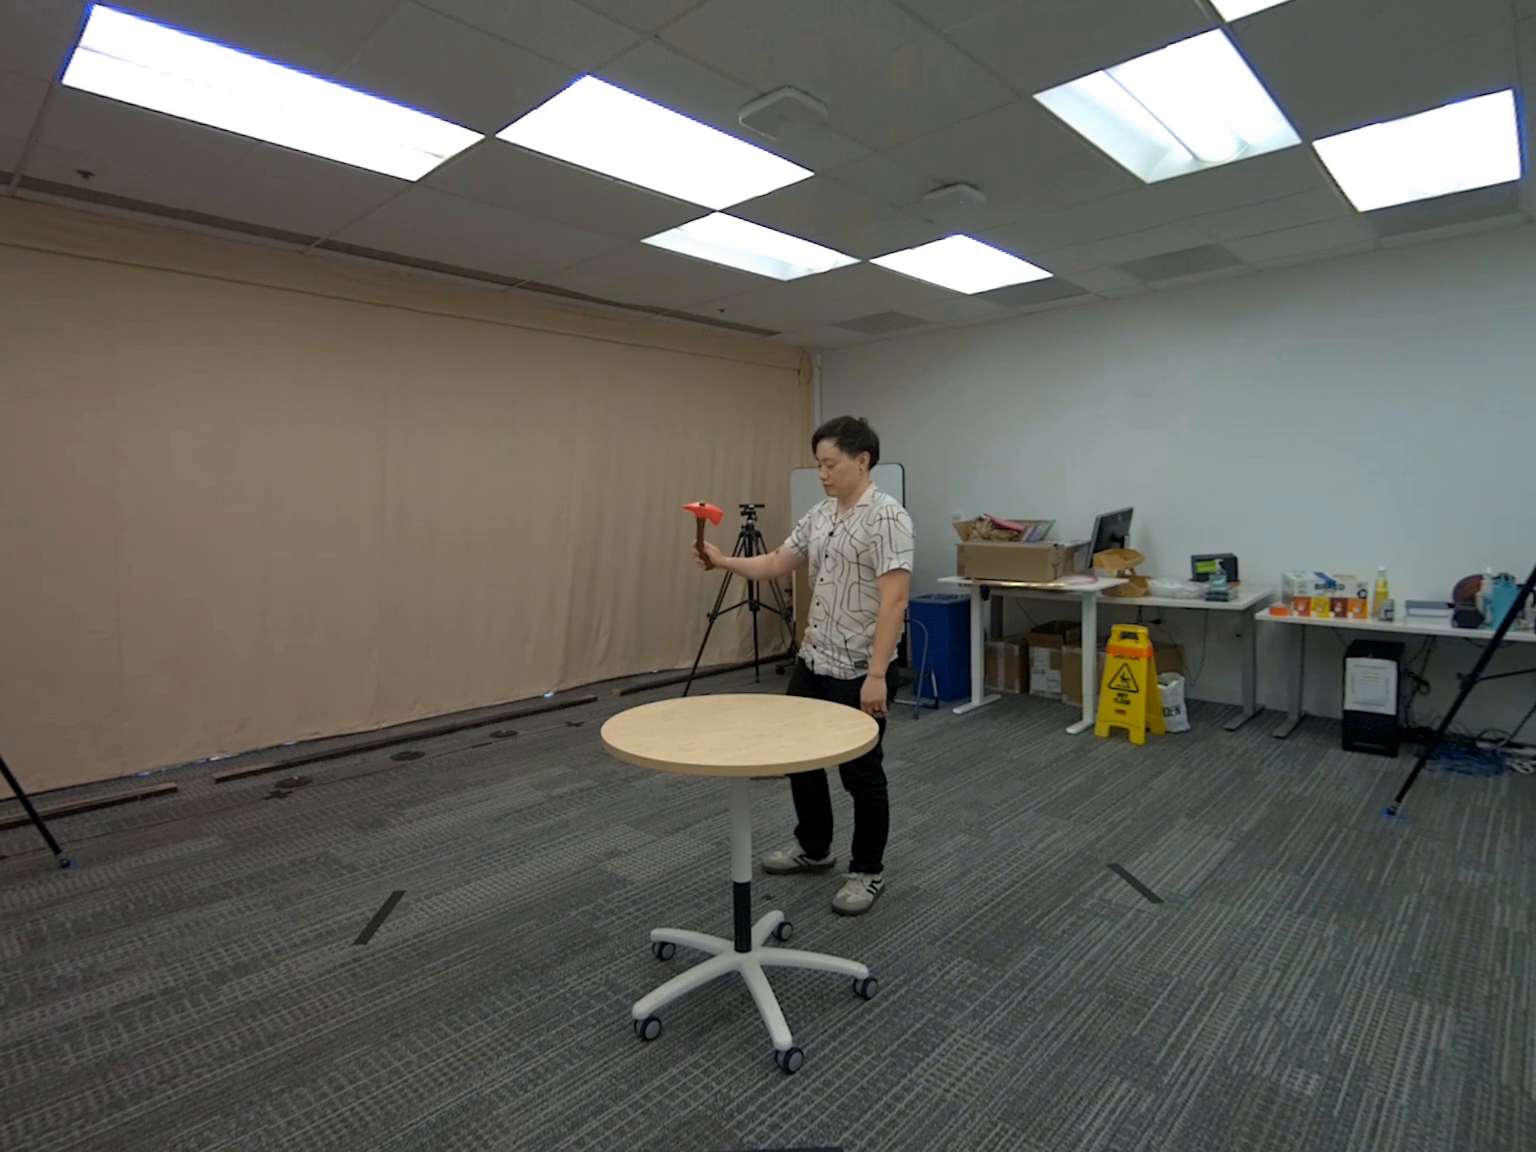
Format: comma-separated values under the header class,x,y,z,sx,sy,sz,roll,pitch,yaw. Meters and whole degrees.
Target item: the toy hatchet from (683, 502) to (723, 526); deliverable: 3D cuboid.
class,x,y,z,sx,sy,sz,roll,pitch,yaw
toy hatchet,-0.187,-0.127,2.829,0.133,0.264,0.030,-6,31,18
